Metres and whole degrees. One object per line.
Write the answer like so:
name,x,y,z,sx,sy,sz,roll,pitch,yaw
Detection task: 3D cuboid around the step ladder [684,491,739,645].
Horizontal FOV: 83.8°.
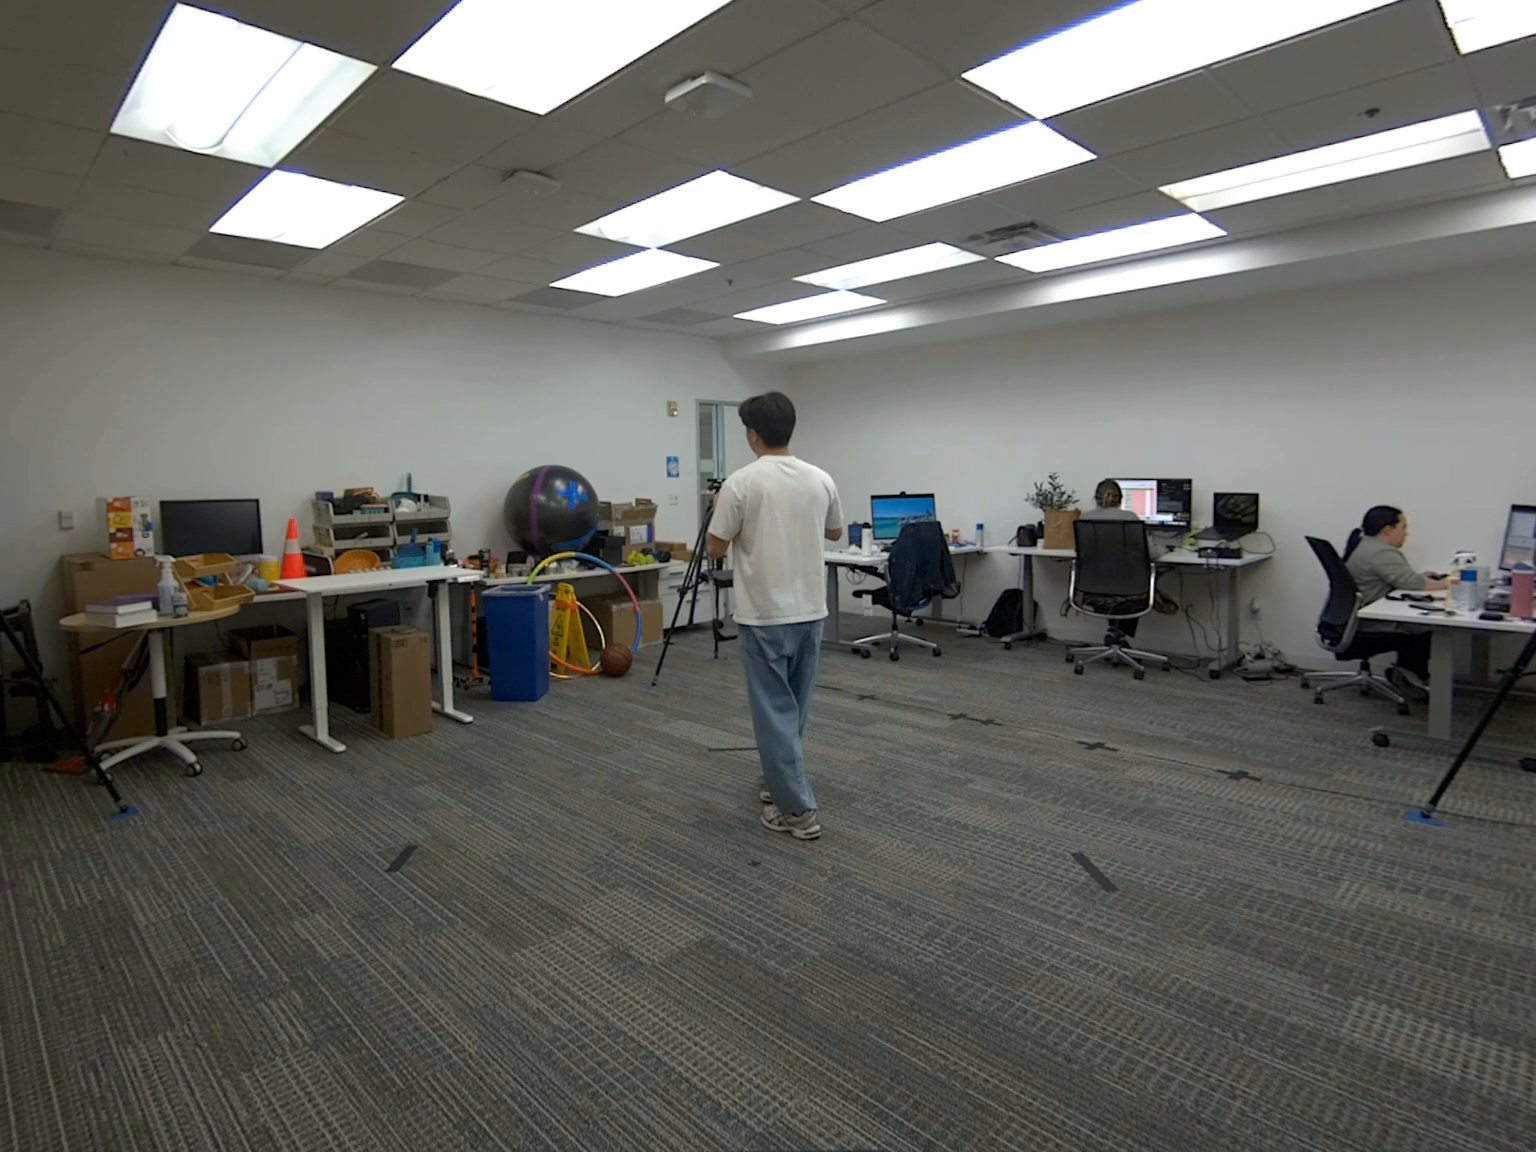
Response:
step ladder,-0.105,-0.059,3.776,0.422,0.601,0.359,-3,9,-25
